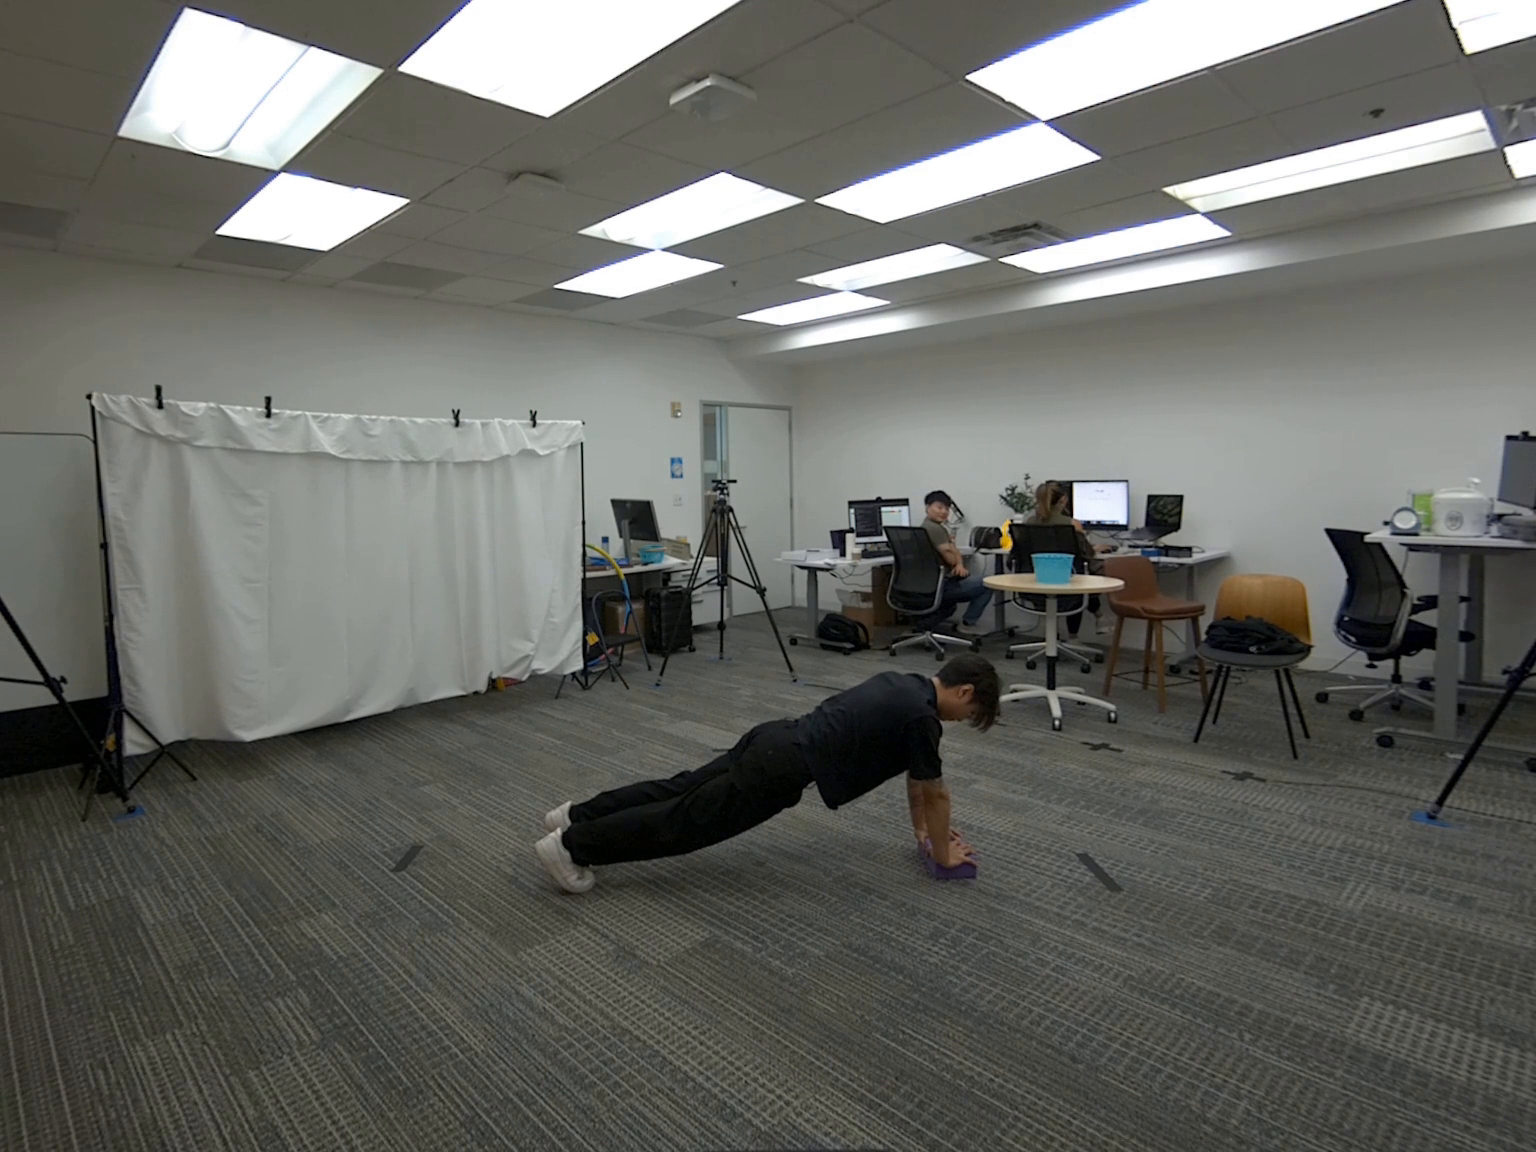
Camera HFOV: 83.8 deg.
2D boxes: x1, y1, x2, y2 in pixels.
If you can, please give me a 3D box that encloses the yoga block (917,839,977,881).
[{"bbox_3d":[0.641,0.994,3.069,0.148,0.076,0.231,-1,4,-7],"label":"yoga block"}]
